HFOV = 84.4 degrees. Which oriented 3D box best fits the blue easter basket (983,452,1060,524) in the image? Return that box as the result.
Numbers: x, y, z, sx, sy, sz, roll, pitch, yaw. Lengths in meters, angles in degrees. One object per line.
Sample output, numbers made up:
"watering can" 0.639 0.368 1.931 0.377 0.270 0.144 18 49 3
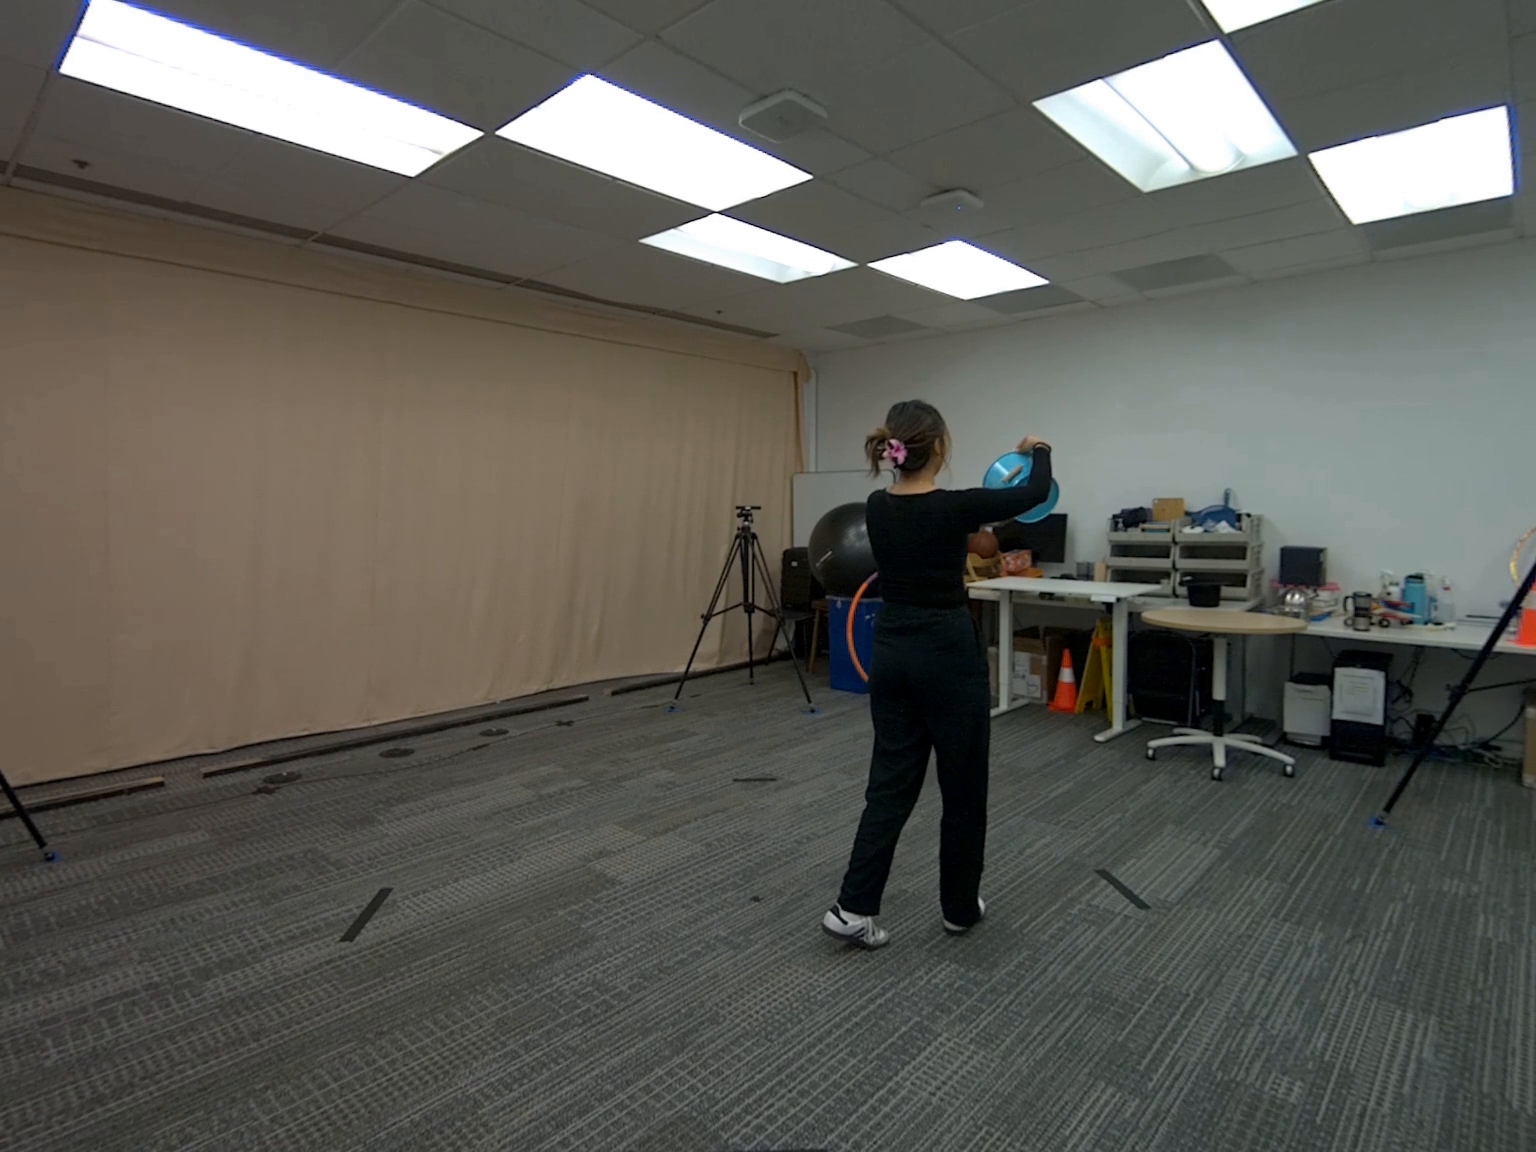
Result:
"blue easter basket" 0.879 -0.296 2.914 0.243 0.240 0.158 0 26 -4
